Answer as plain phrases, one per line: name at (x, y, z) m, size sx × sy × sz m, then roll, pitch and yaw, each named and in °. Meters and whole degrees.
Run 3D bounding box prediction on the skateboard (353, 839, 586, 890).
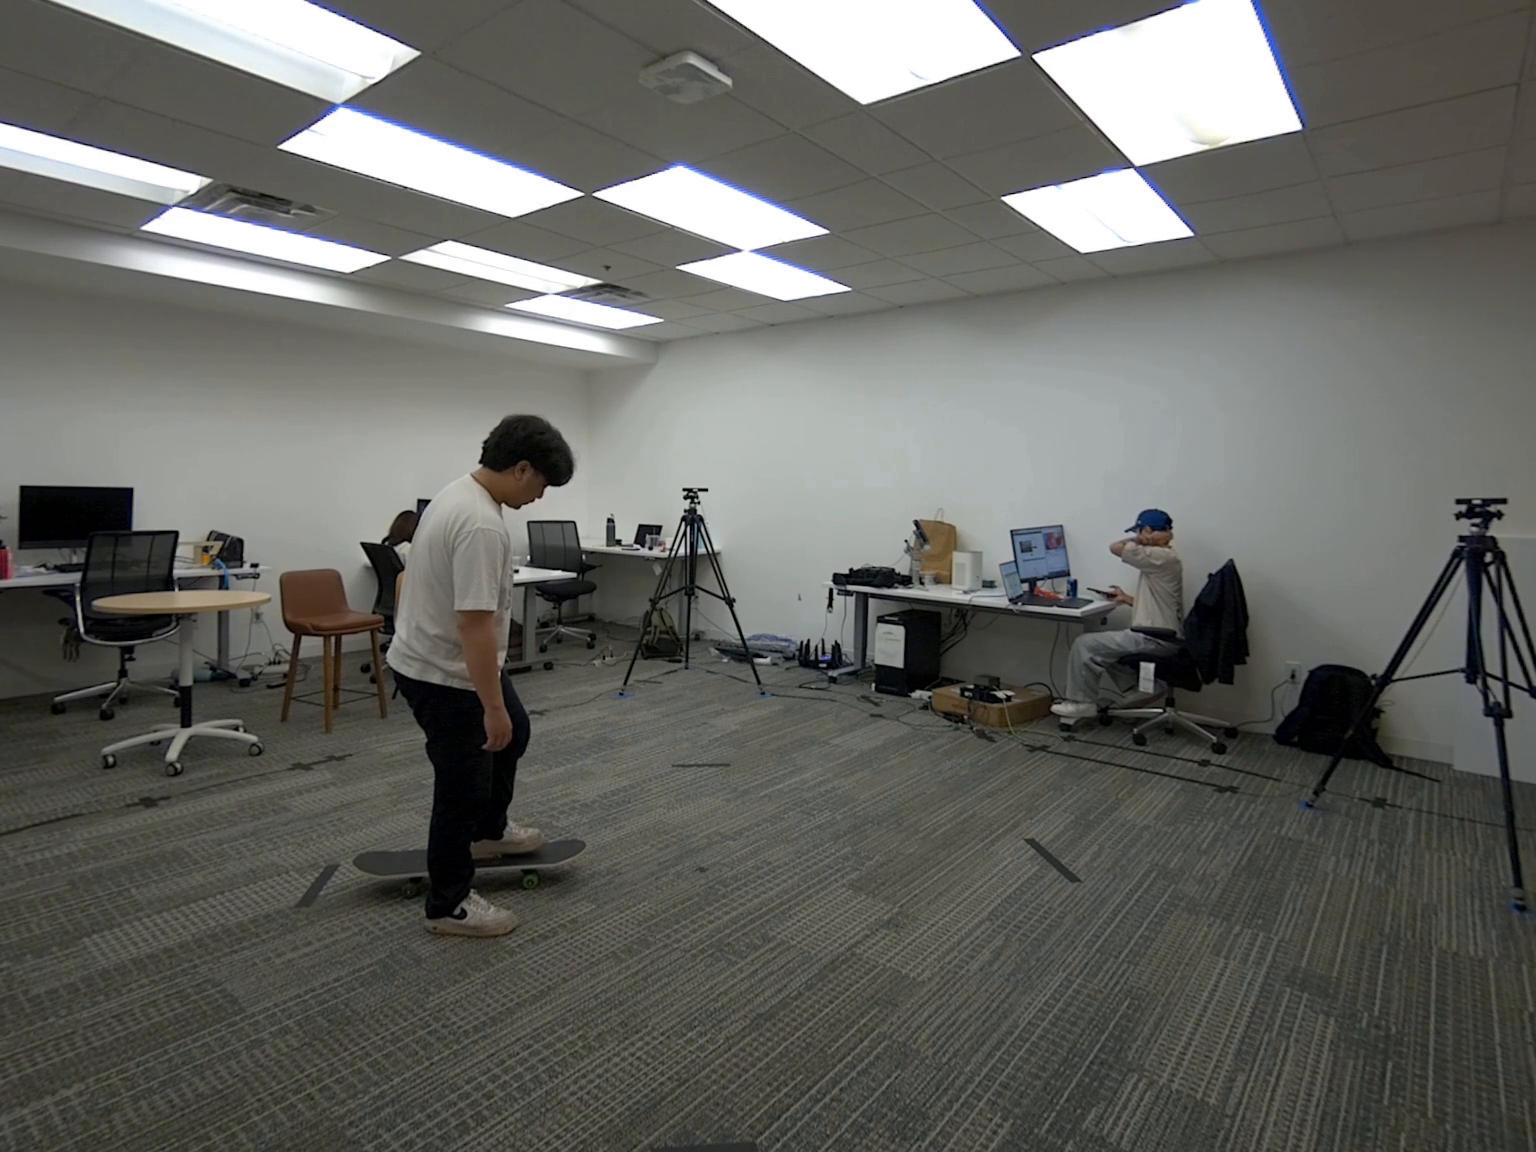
skateboard at (-1.039, 1.008, 2.969) m, size 0.776 × 0.110 × 0.197 m, roll 0°, pitch 6°, yaw -11°
